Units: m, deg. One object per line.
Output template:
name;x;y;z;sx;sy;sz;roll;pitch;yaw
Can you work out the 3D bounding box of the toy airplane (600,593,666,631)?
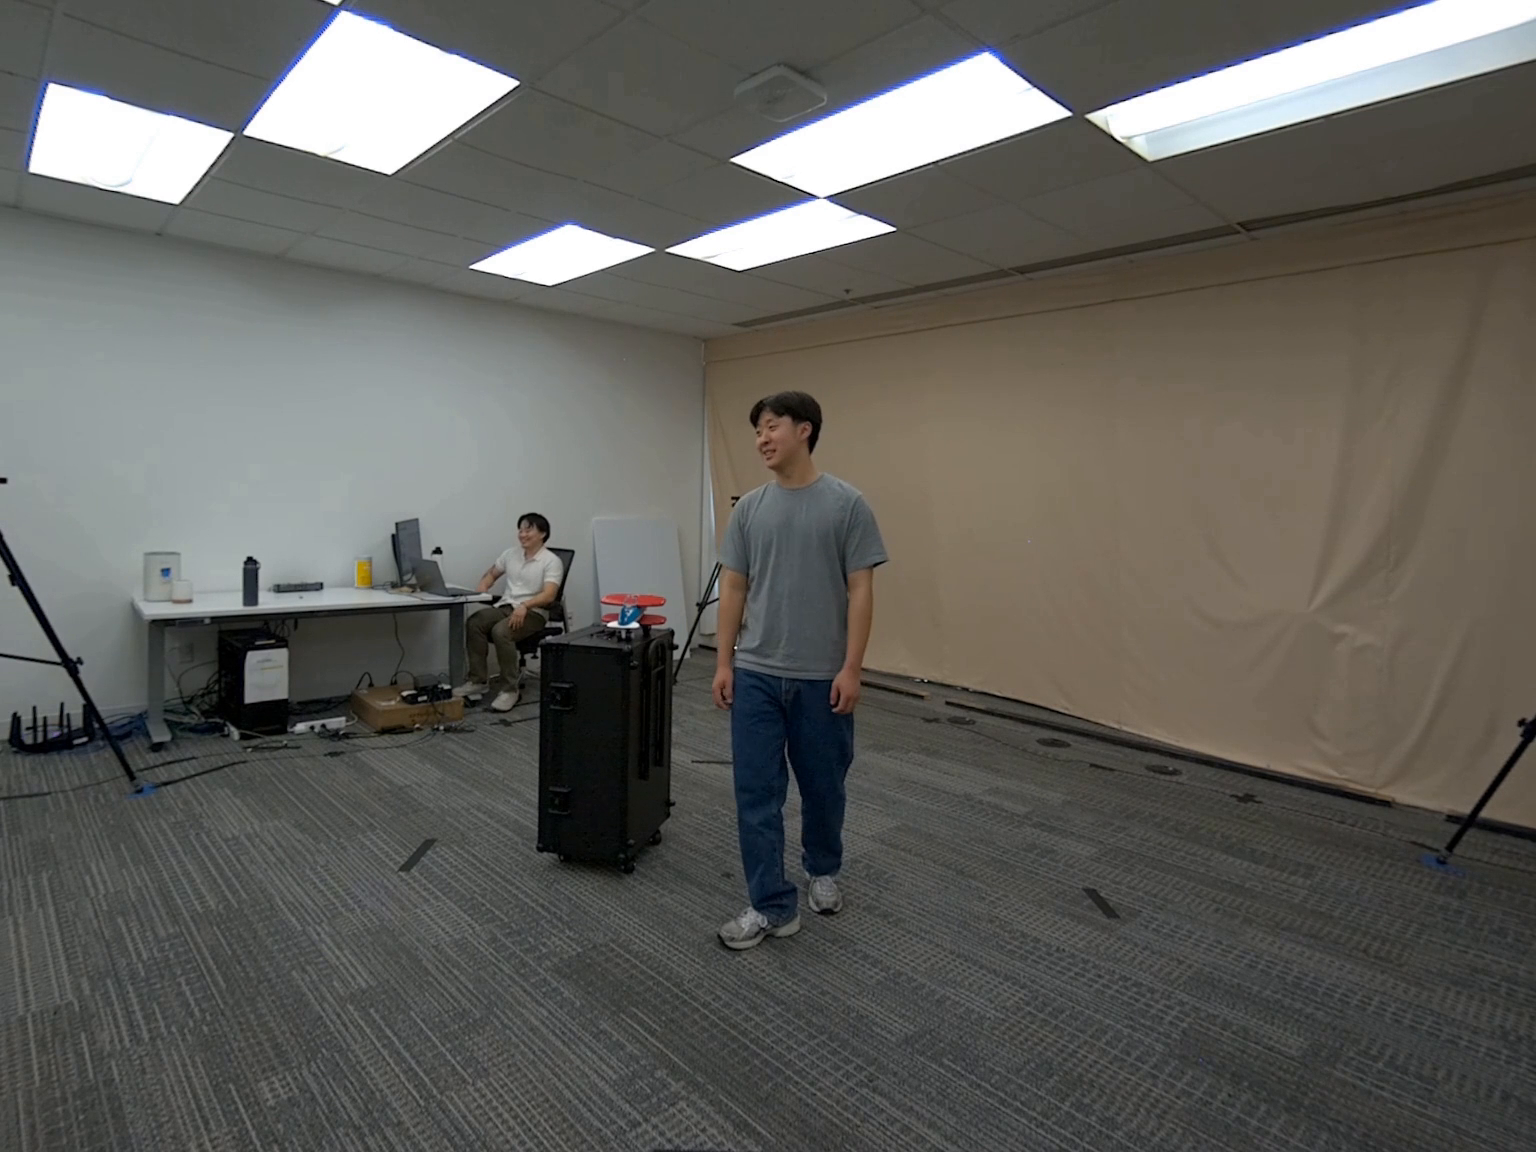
toy airplane;-0.518;0.155;3.248;0.247;0.156;0.264;0;3;-22
